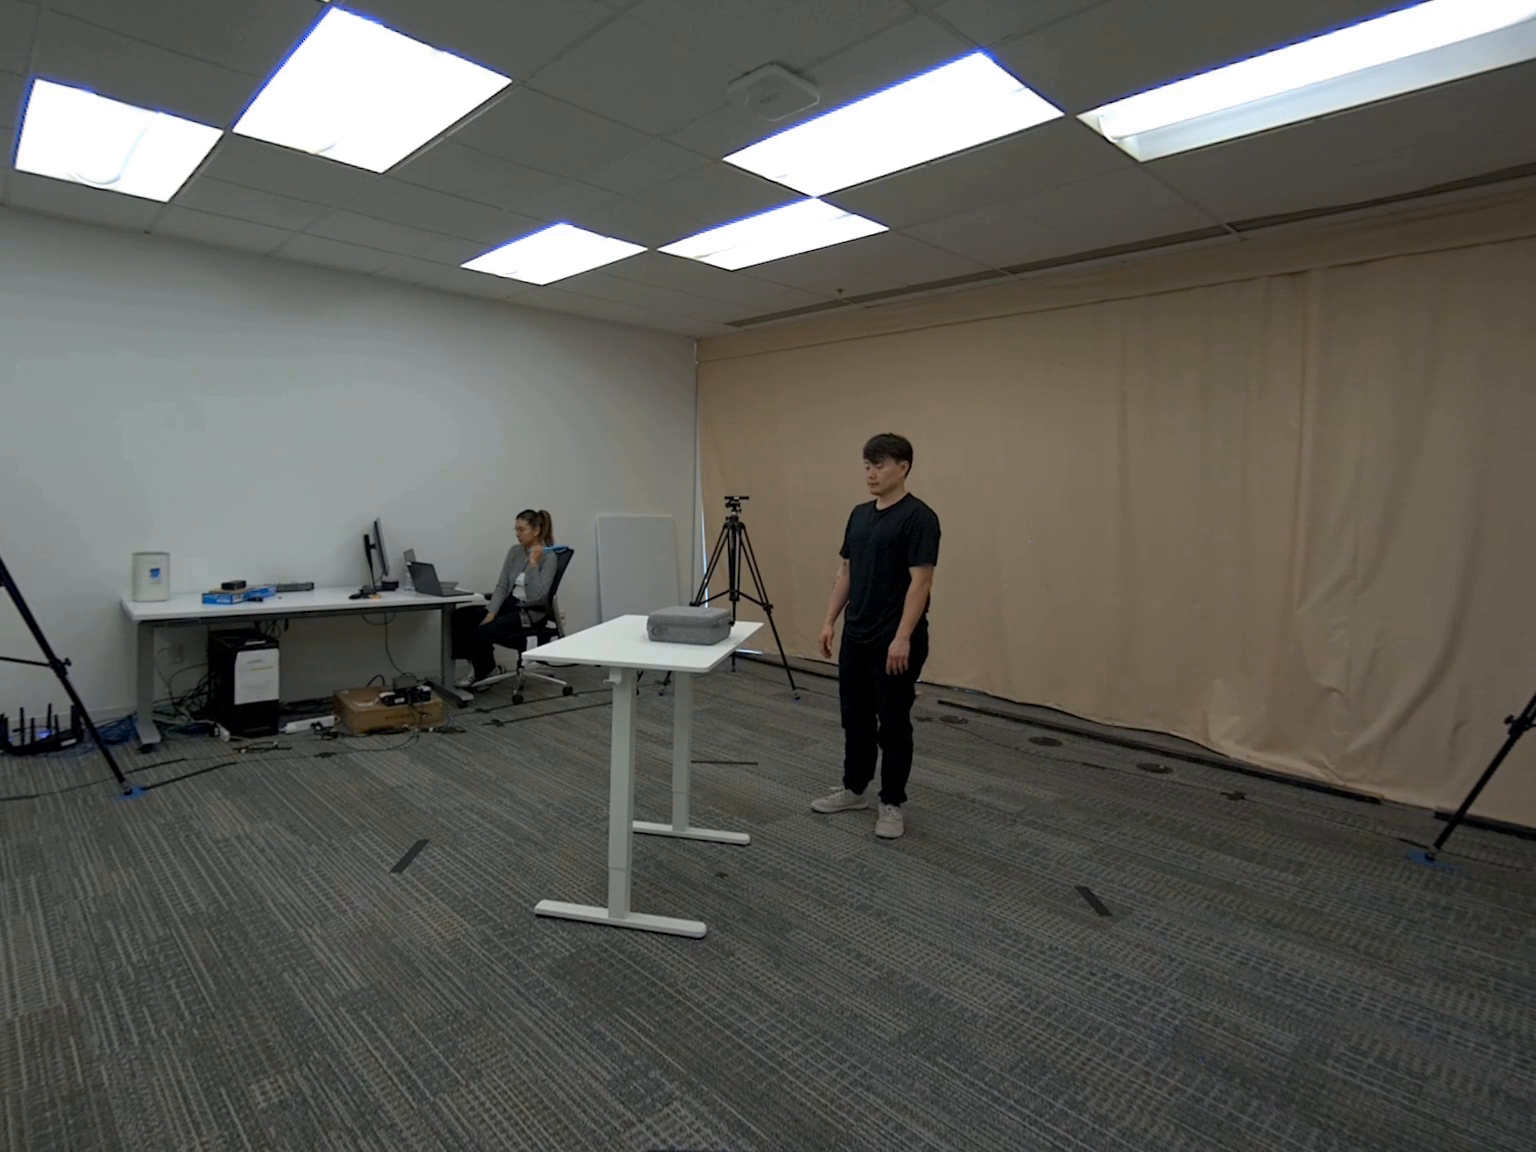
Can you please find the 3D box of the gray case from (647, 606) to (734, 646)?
[{"bbox_3d":[-0.292,0.173,3.024,0.264,0.104,0.254,2,6,15],"label":"gray case"}]
